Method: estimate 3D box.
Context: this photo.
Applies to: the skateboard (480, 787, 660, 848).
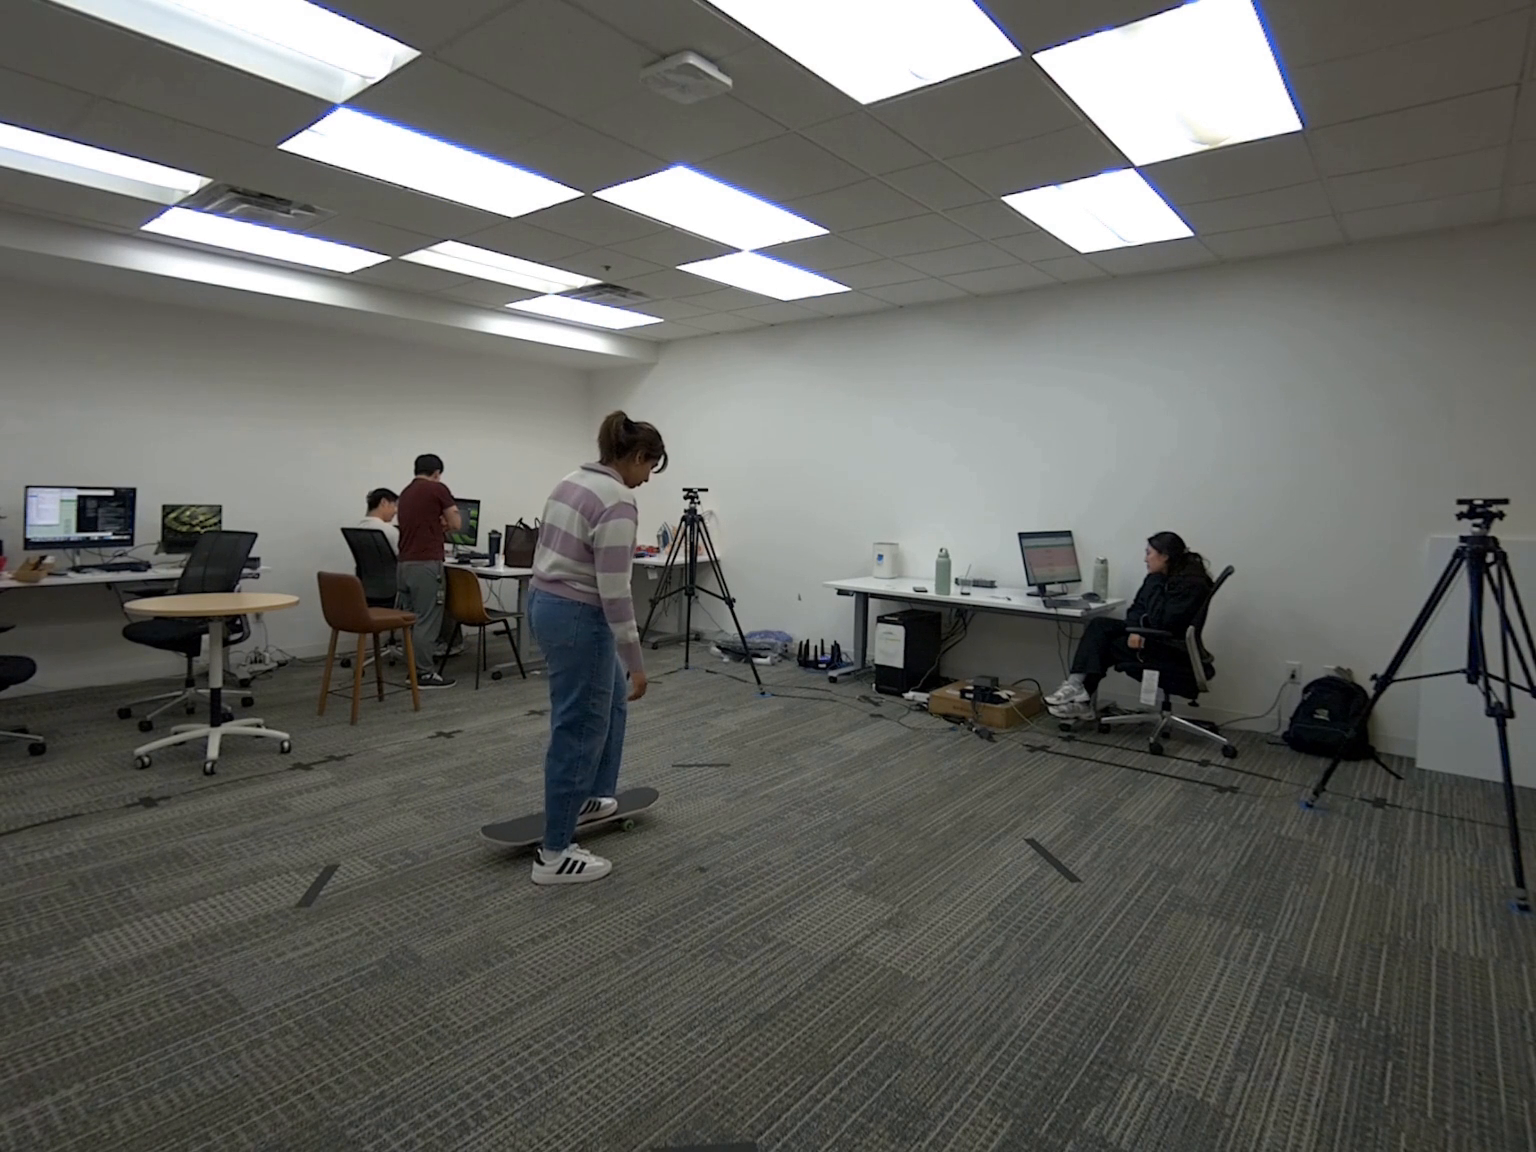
[{"bbox_3d":[-0.774,0.978,3.377,0.762,0.110,0.200,-4,10,-41],"label":"skateboard"}]
